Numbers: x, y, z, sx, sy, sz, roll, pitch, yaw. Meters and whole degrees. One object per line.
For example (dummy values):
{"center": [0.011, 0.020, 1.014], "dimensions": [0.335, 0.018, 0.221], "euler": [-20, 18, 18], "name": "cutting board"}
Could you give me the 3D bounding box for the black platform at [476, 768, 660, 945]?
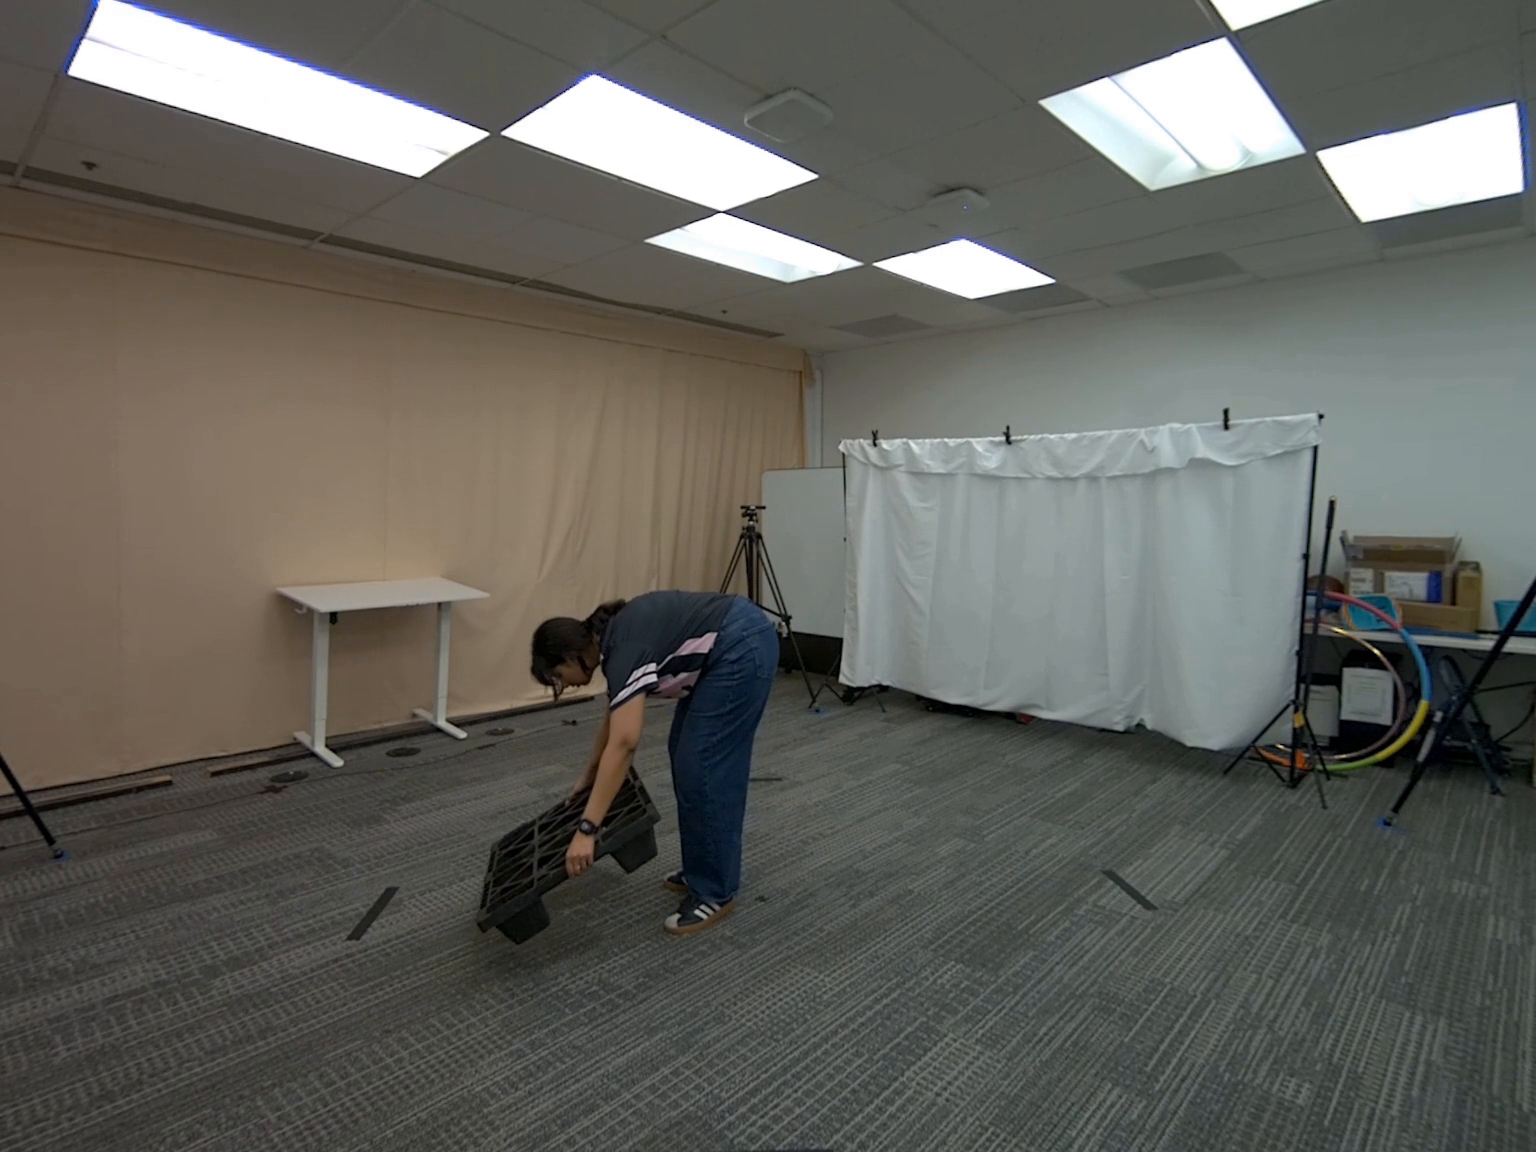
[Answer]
{"center": [-0.656, 0.906, 2.840], "dimensions": [0.601, 0.142, 0.815], "euler": [-30, 6, -12], "name": "black platform"}
